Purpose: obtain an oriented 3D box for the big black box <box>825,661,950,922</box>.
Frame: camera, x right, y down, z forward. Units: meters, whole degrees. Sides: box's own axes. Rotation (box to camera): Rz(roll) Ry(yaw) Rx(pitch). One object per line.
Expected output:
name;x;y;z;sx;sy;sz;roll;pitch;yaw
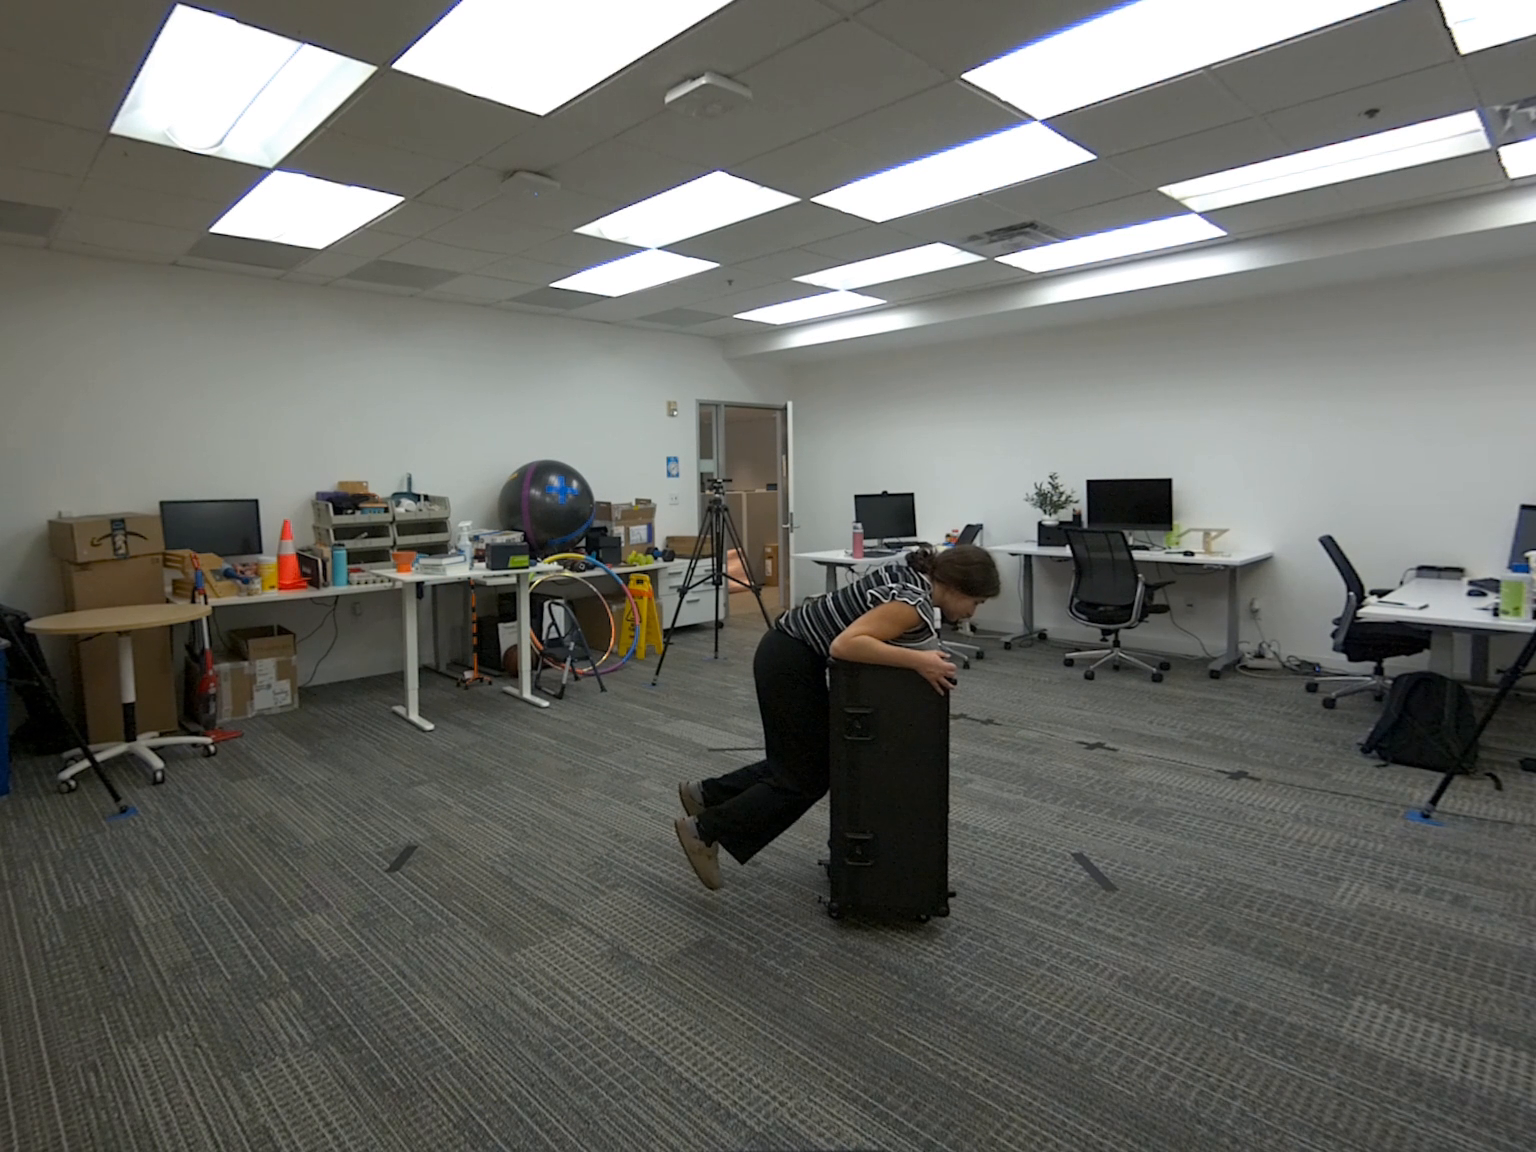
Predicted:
big black box;0.399;0.660;2.810;0.398;0.858;0.520;2;5;4
